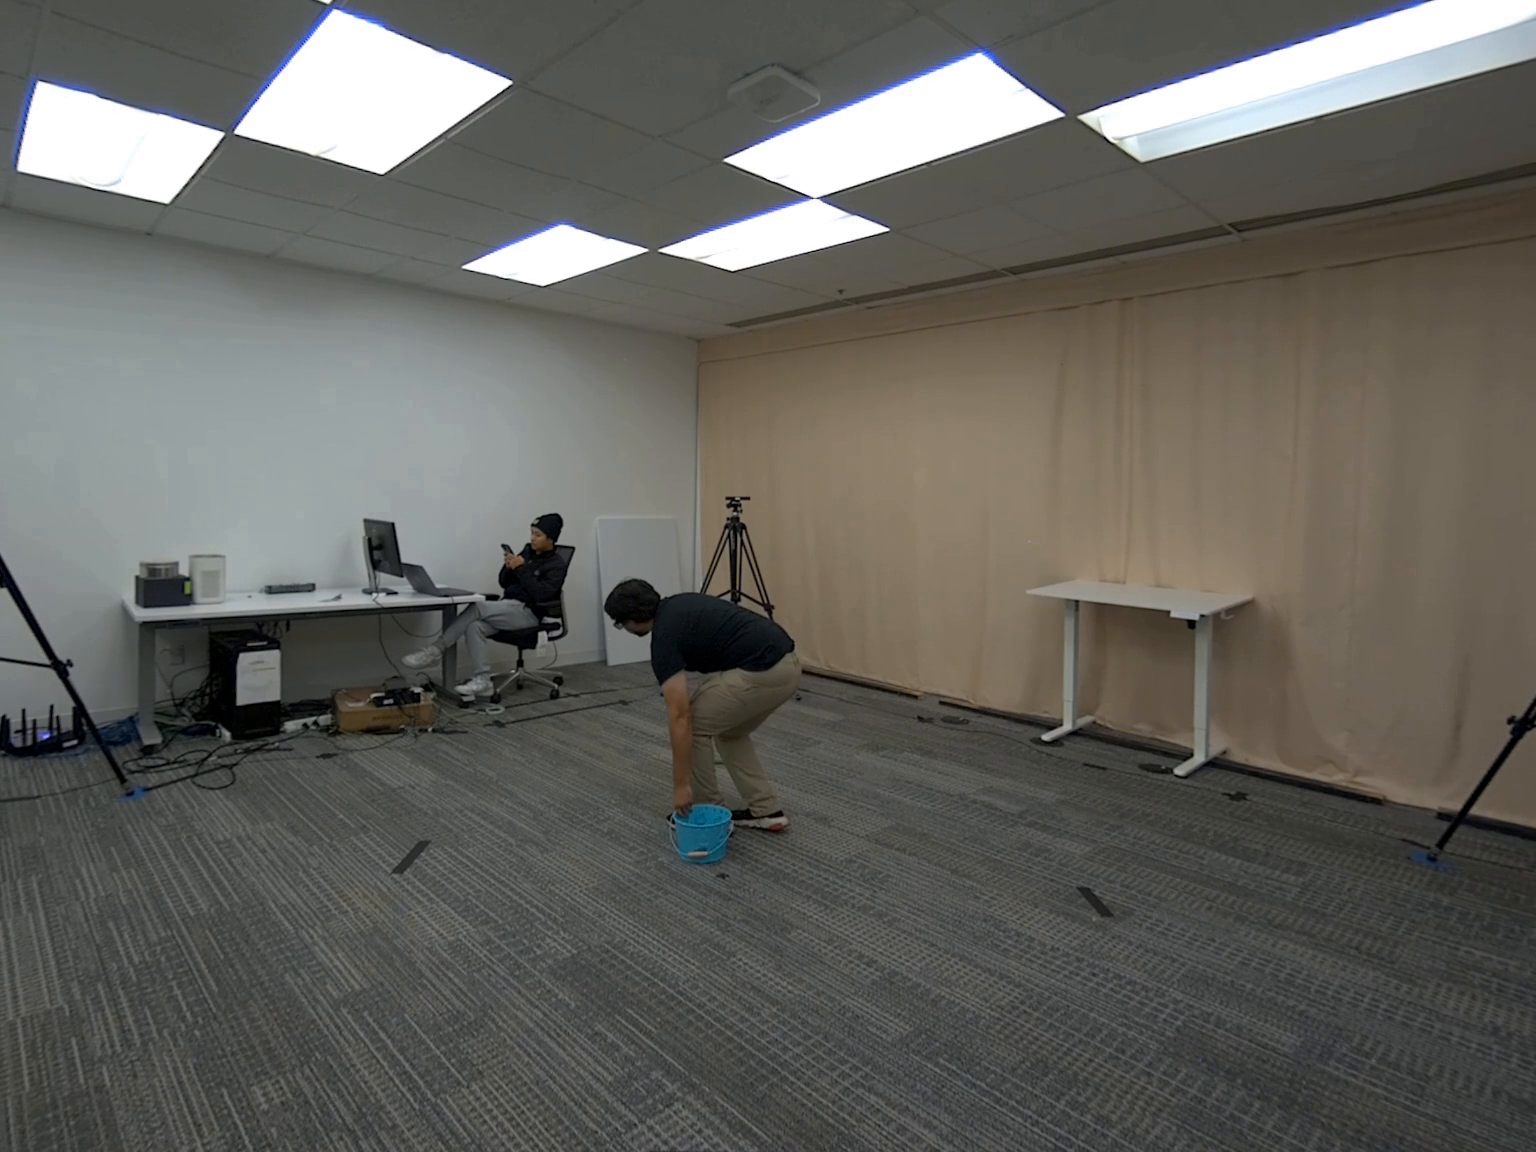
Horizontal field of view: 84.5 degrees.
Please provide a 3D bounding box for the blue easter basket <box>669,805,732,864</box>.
[{"bbox_3d":[-0.277,1.012,3.294,0.243,0.155,0.244,0,3,-1],"label":"blue easter basket"}]
